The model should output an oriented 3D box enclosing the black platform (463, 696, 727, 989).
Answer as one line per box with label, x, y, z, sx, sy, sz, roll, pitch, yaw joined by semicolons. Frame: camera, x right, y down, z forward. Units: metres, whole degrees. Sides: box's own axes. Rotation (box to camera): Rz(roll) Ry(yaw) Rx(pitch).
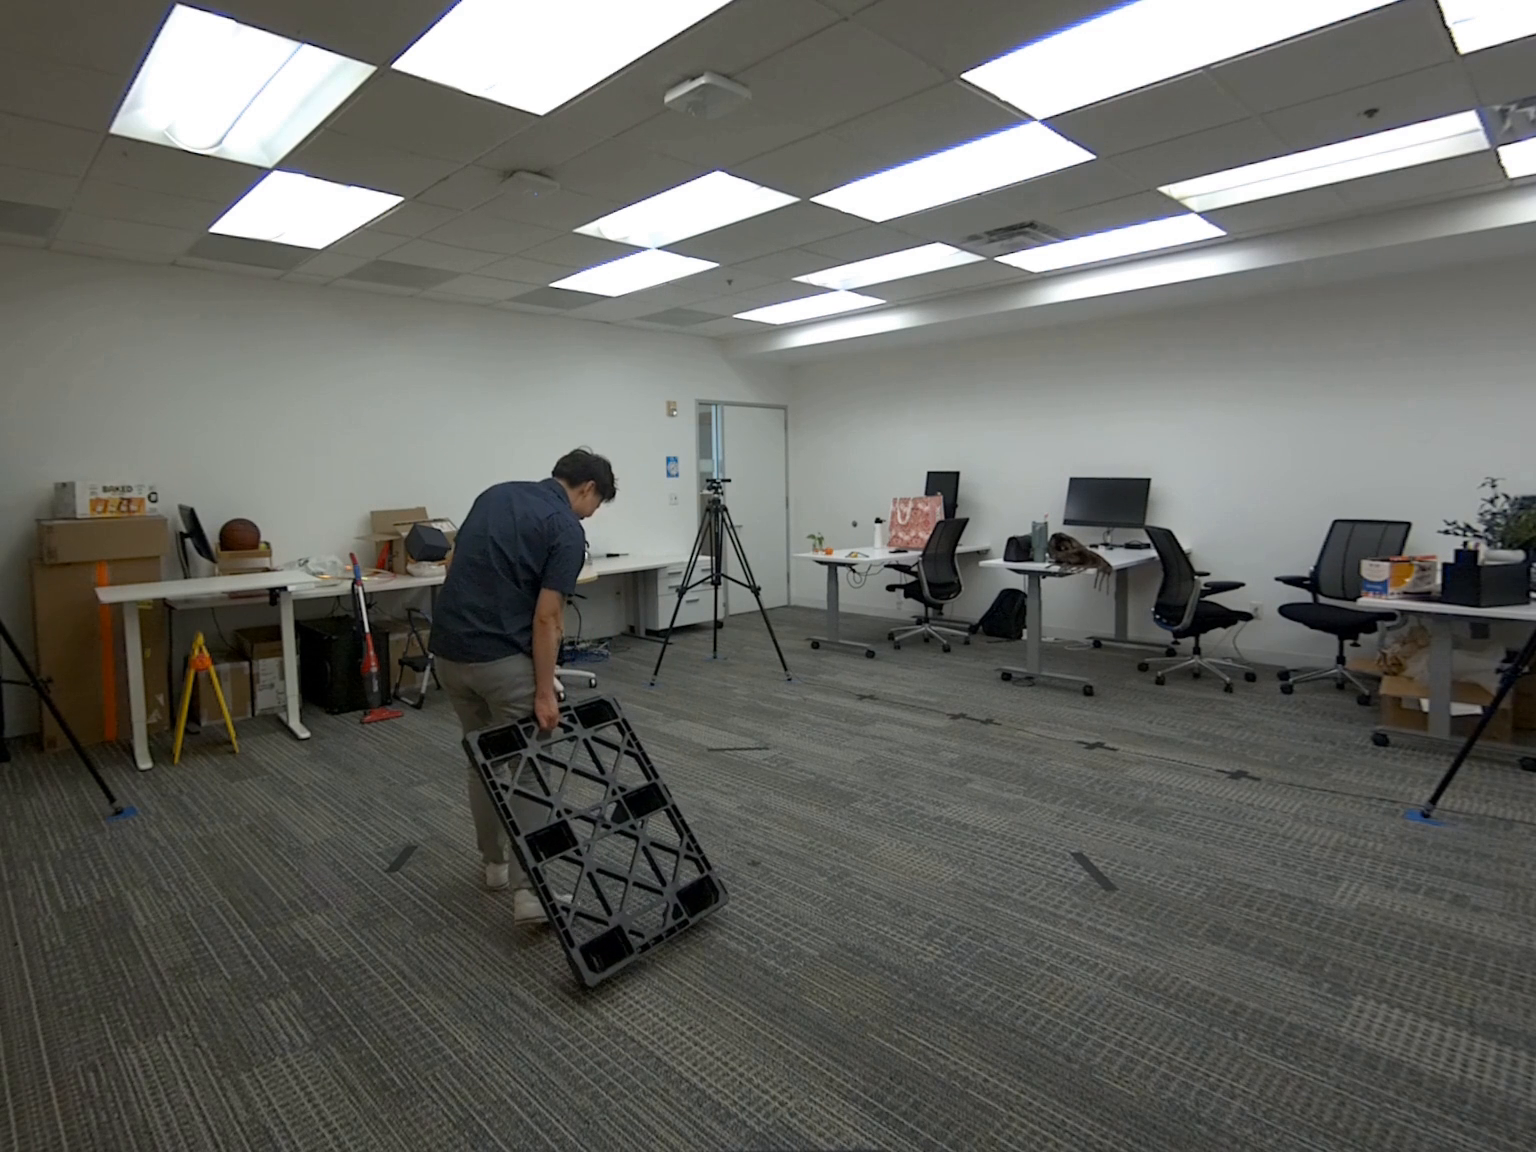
black platform;-0.547;0.790;2.665;0.590;0.827;0.143;-9;-33;-49
